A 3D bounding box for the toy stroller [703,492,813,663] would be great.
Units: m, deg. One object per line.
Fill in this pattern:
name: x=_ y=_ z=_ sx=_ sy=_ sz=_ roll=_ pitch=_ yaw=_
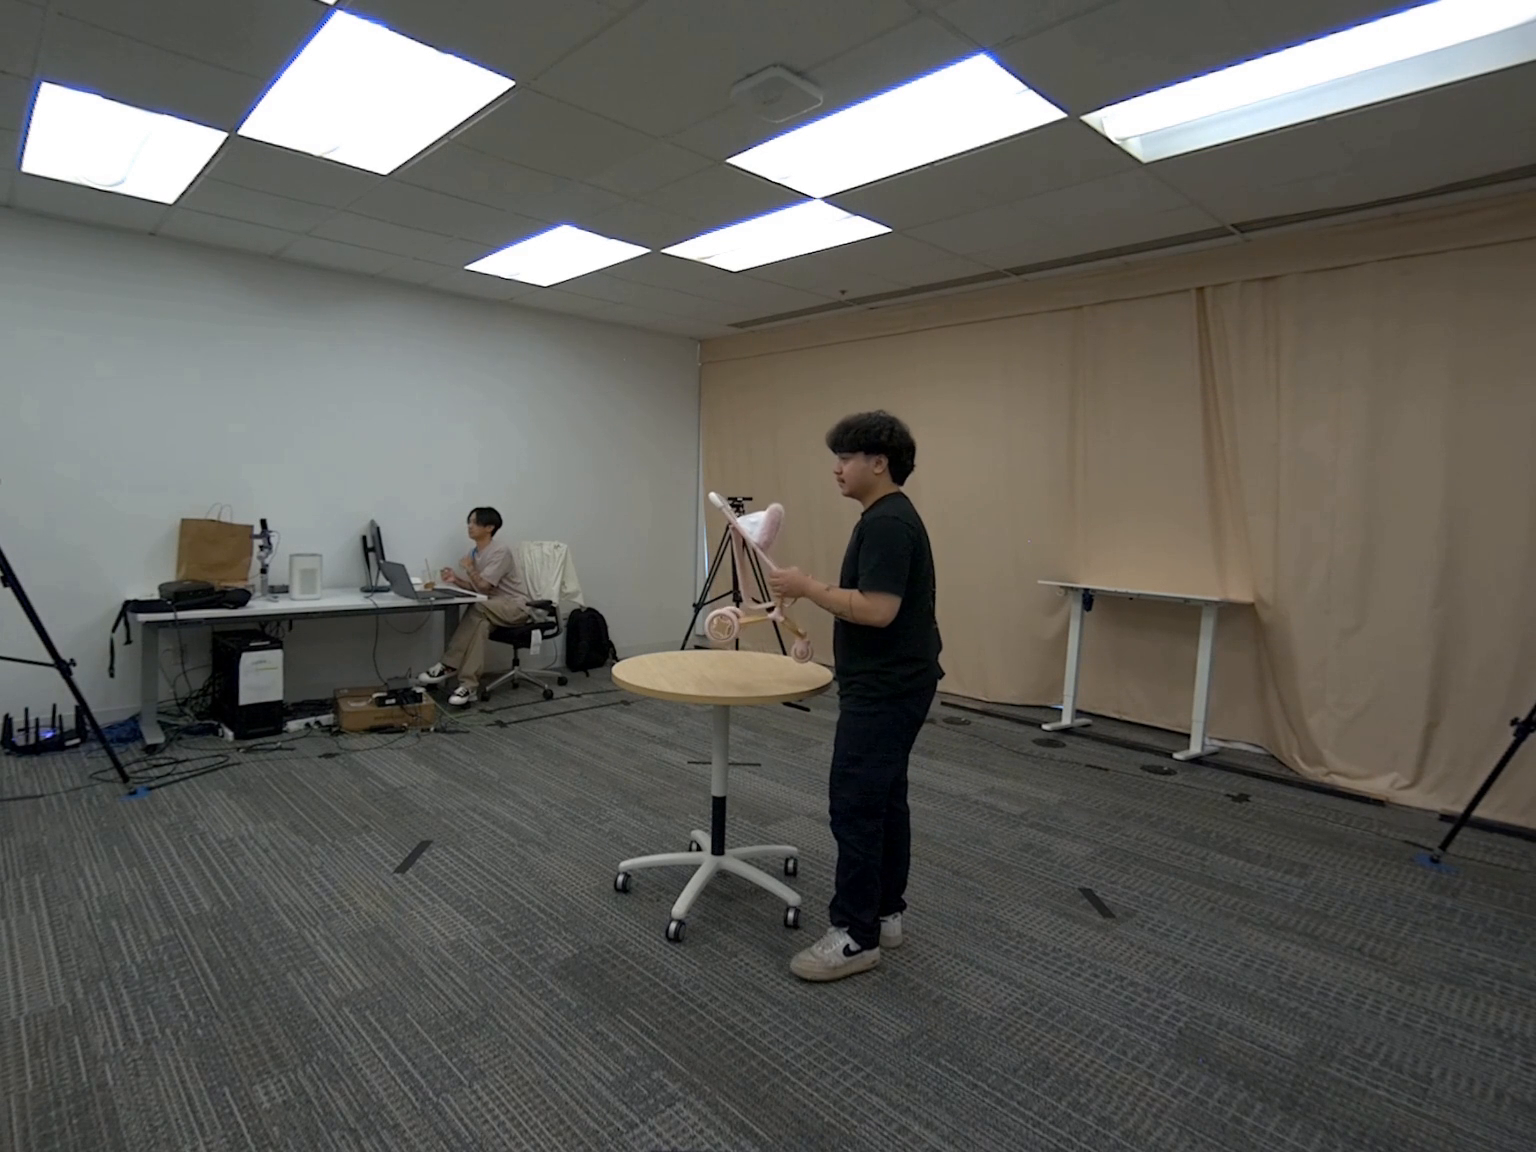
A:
toy stroller: x=-0.021 y=0.010 z=2.678 sx=0.344 sy=0.536 sz=0.278 roll=1 pitch=-3 yaw=9
